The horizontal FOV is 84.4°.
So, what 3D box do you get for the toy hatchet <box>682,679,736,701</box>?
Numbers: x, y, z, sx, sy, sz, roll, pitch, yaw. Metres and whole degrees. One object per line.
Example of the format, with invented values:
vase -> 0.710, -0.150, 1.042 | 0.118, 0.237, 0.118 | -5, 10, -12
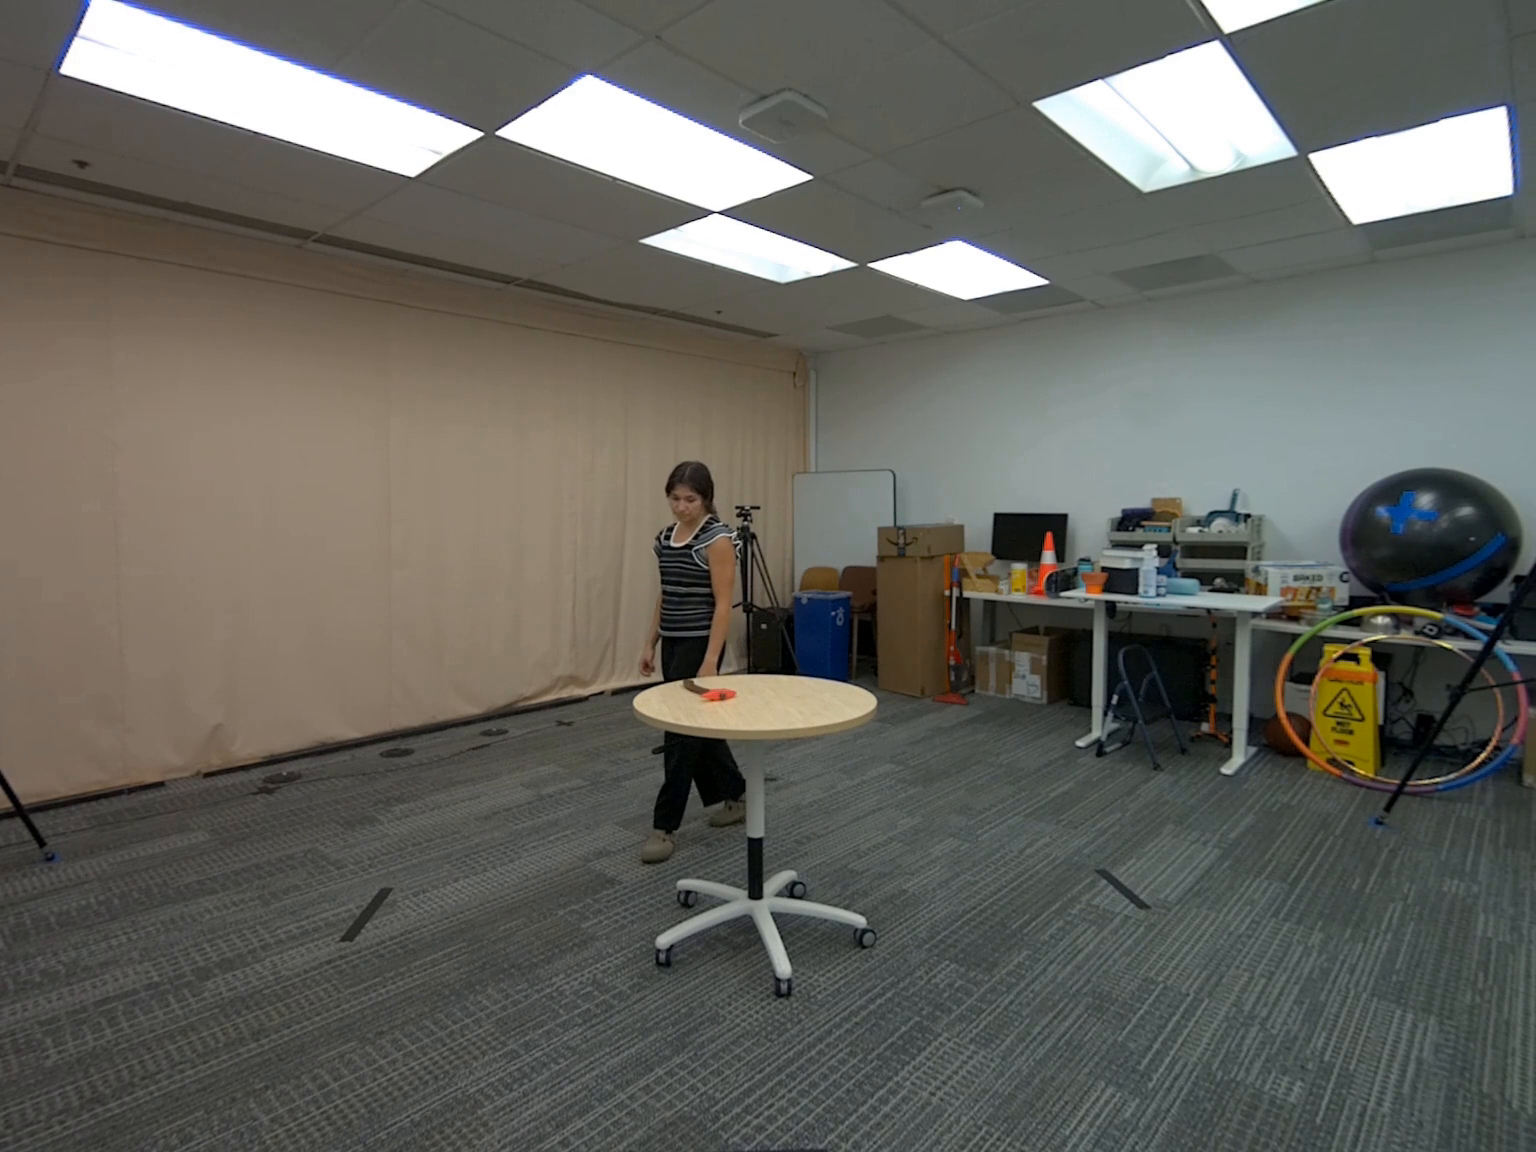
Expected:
toy hatchet -> -0.185, 0.371, 2.751 | 0.129, 0.029, 0.275 | 0, 3, -18
